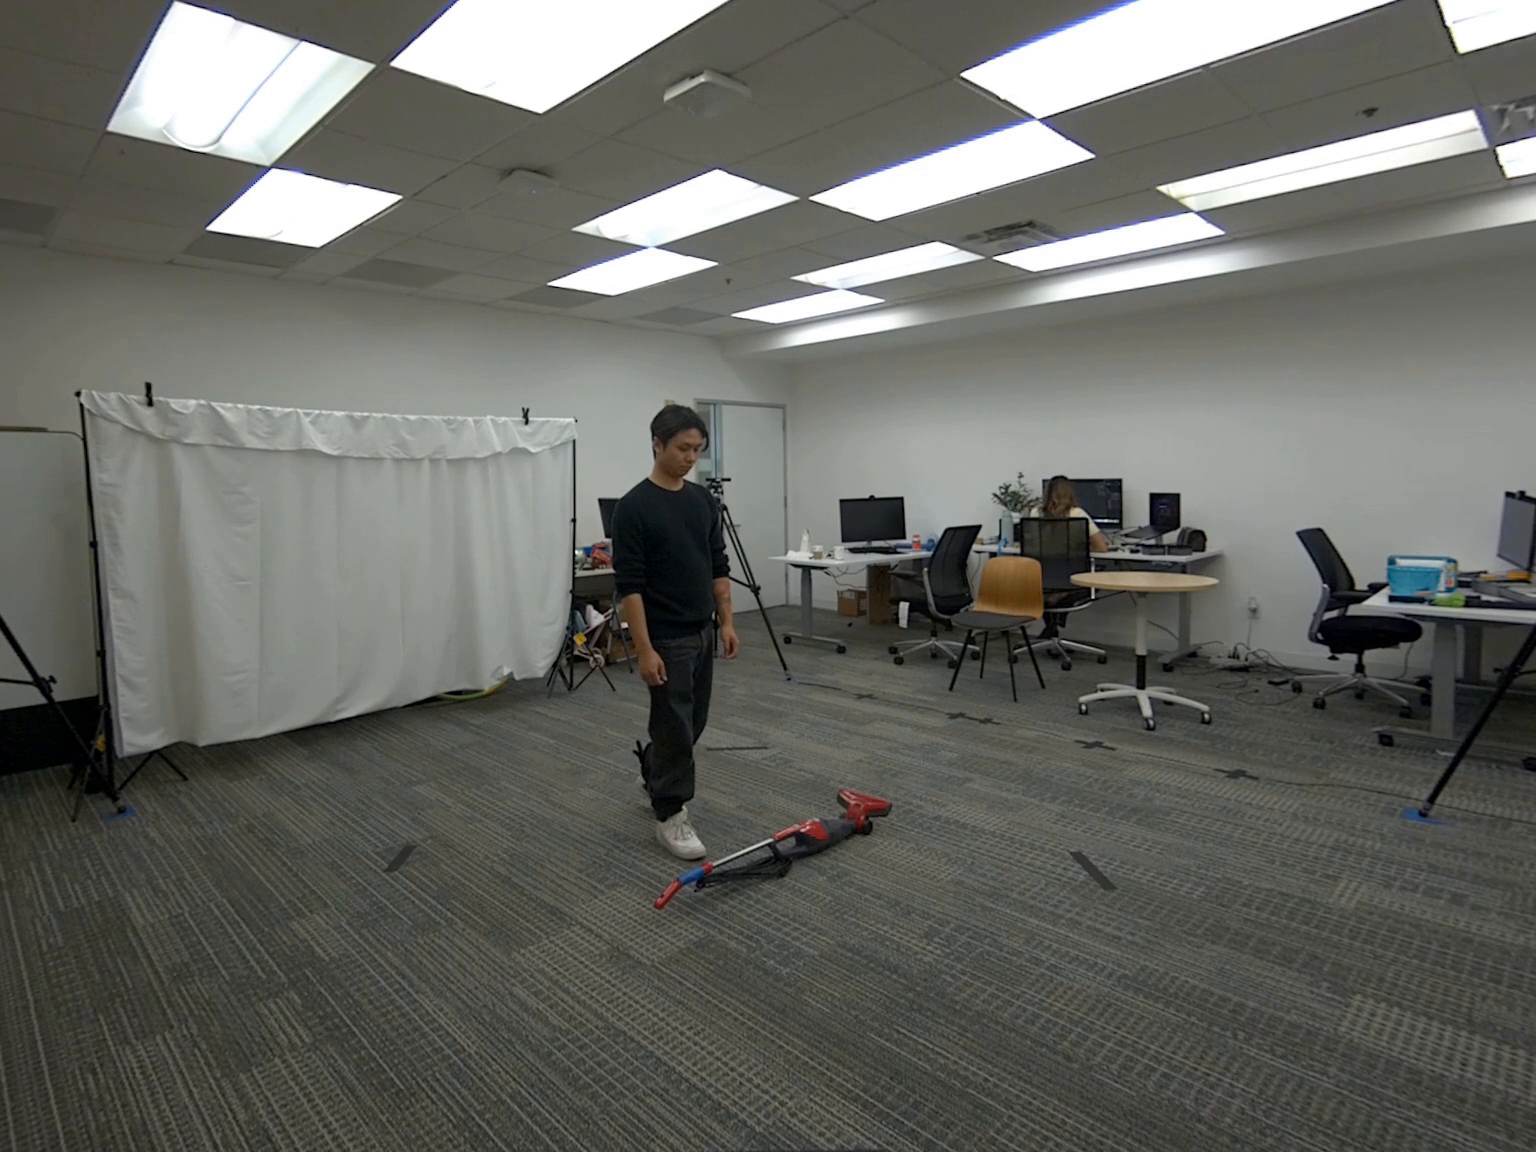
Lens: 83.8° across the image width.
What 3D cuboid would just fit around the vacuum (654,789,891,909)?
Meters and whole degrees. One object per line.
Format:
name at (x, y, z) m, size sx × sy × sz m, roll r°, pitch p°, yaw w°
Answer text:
vacuum at (0.021, 0.990, 3.037) m, size 0.260 × 0.143 × 1.023 m, roll 2°, pitch 8°, yaw 45°
